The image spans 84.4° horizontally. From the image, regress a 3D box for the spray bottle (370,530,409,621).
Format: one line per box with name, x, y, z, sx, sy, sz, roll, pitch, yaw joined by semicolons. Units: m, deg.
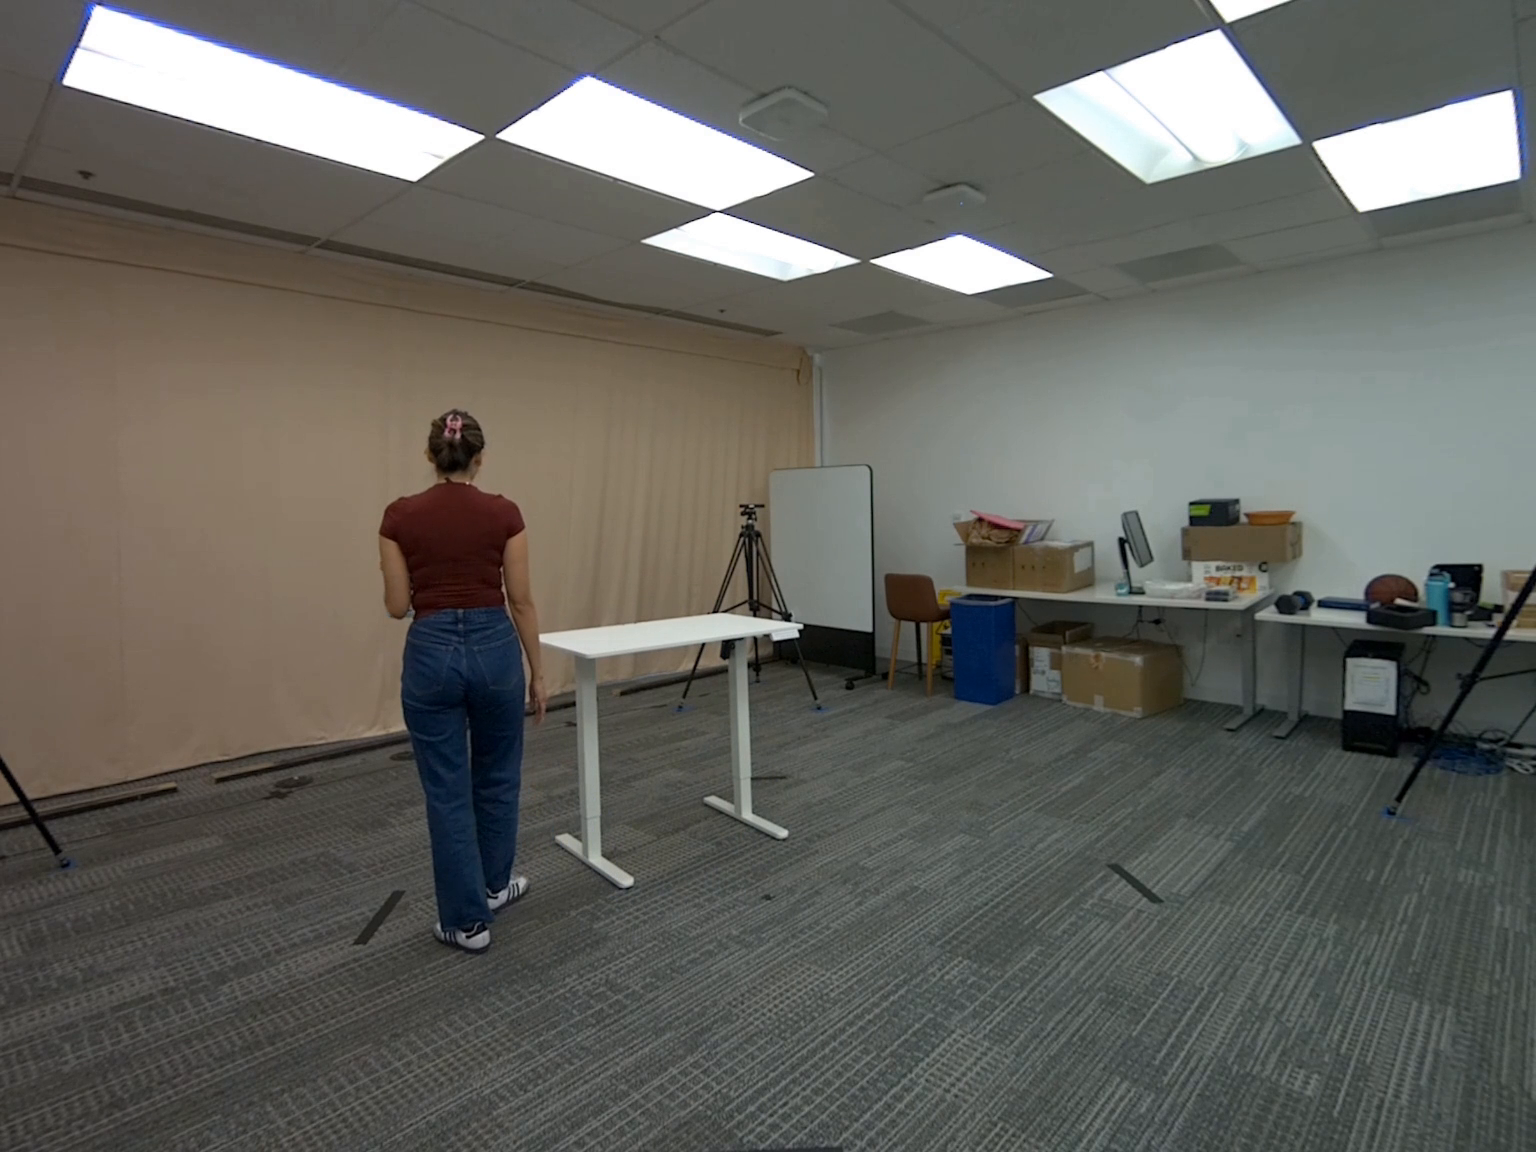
spray bottle;-1.291;-0.006;2.897;0.090;0.297;0.087;3;1;36
